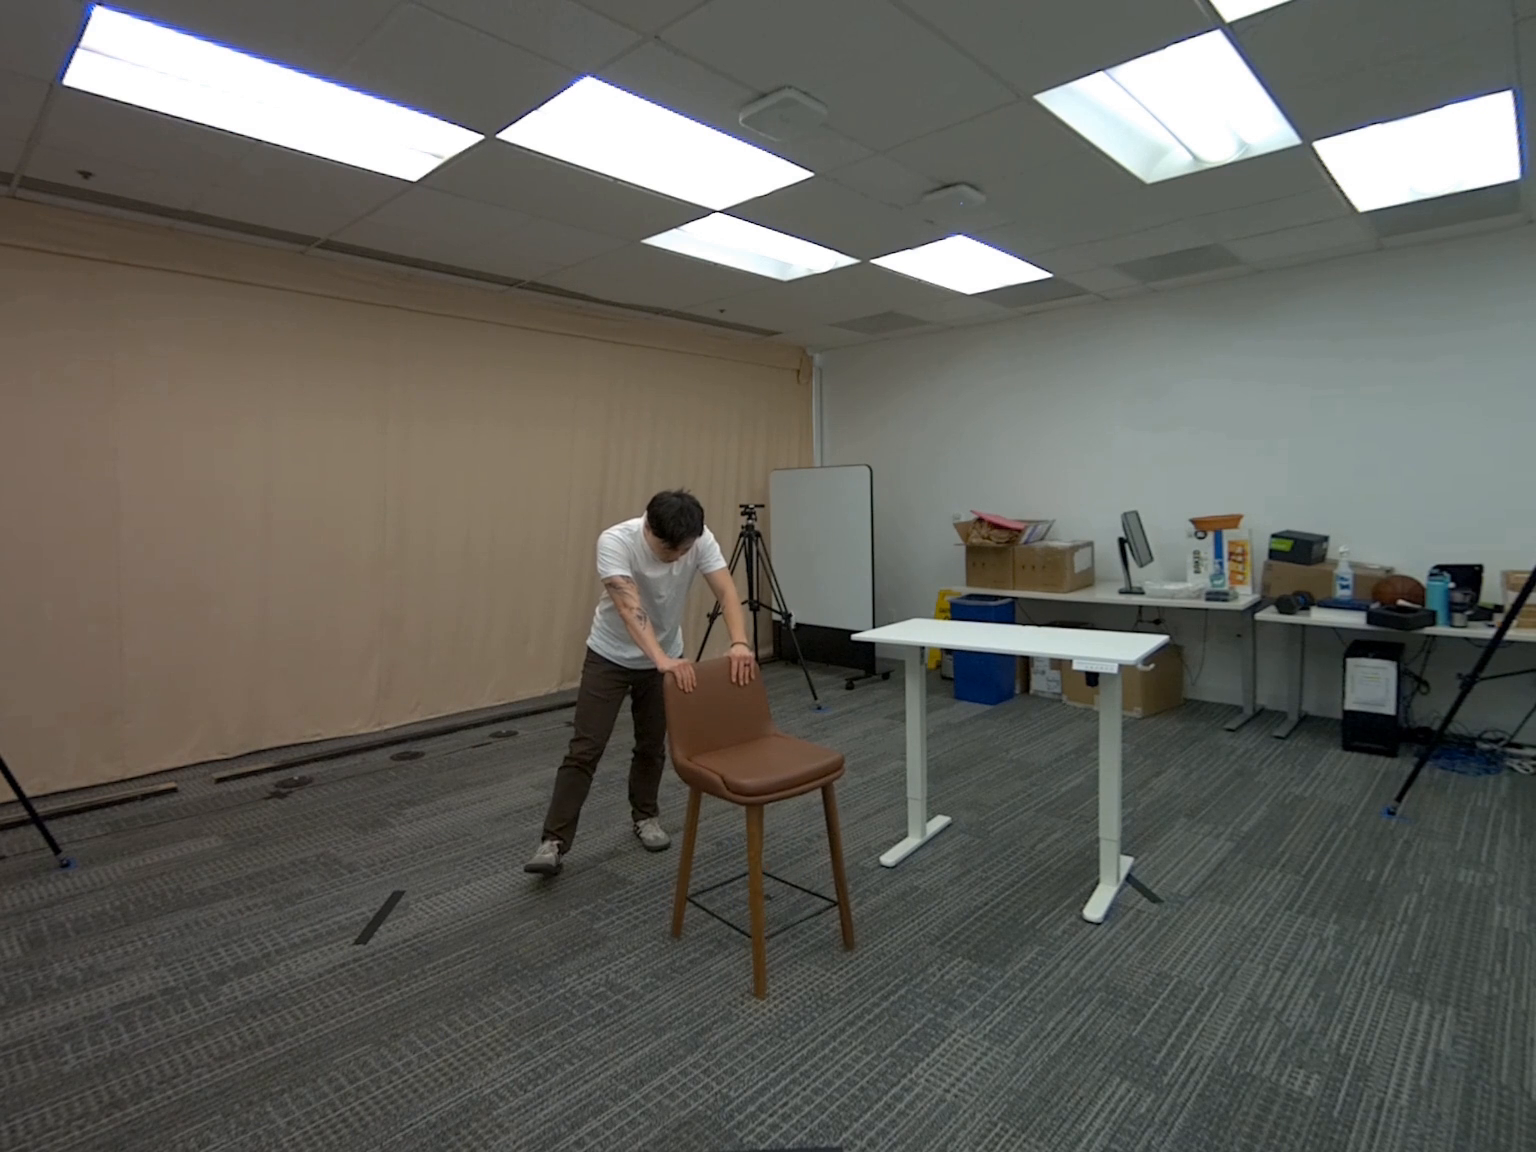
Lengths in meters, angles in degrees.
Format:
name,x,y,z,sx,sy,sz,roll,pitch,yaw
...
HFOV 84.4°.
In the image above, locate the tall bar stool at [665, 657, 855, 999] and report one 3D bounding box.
name,x,y,z,sx,sy,sz,roll,pitch,yaw
tall bar stool,-0.040,0.731,2.650,0.443,0.888,0.482,-4,3,-41
